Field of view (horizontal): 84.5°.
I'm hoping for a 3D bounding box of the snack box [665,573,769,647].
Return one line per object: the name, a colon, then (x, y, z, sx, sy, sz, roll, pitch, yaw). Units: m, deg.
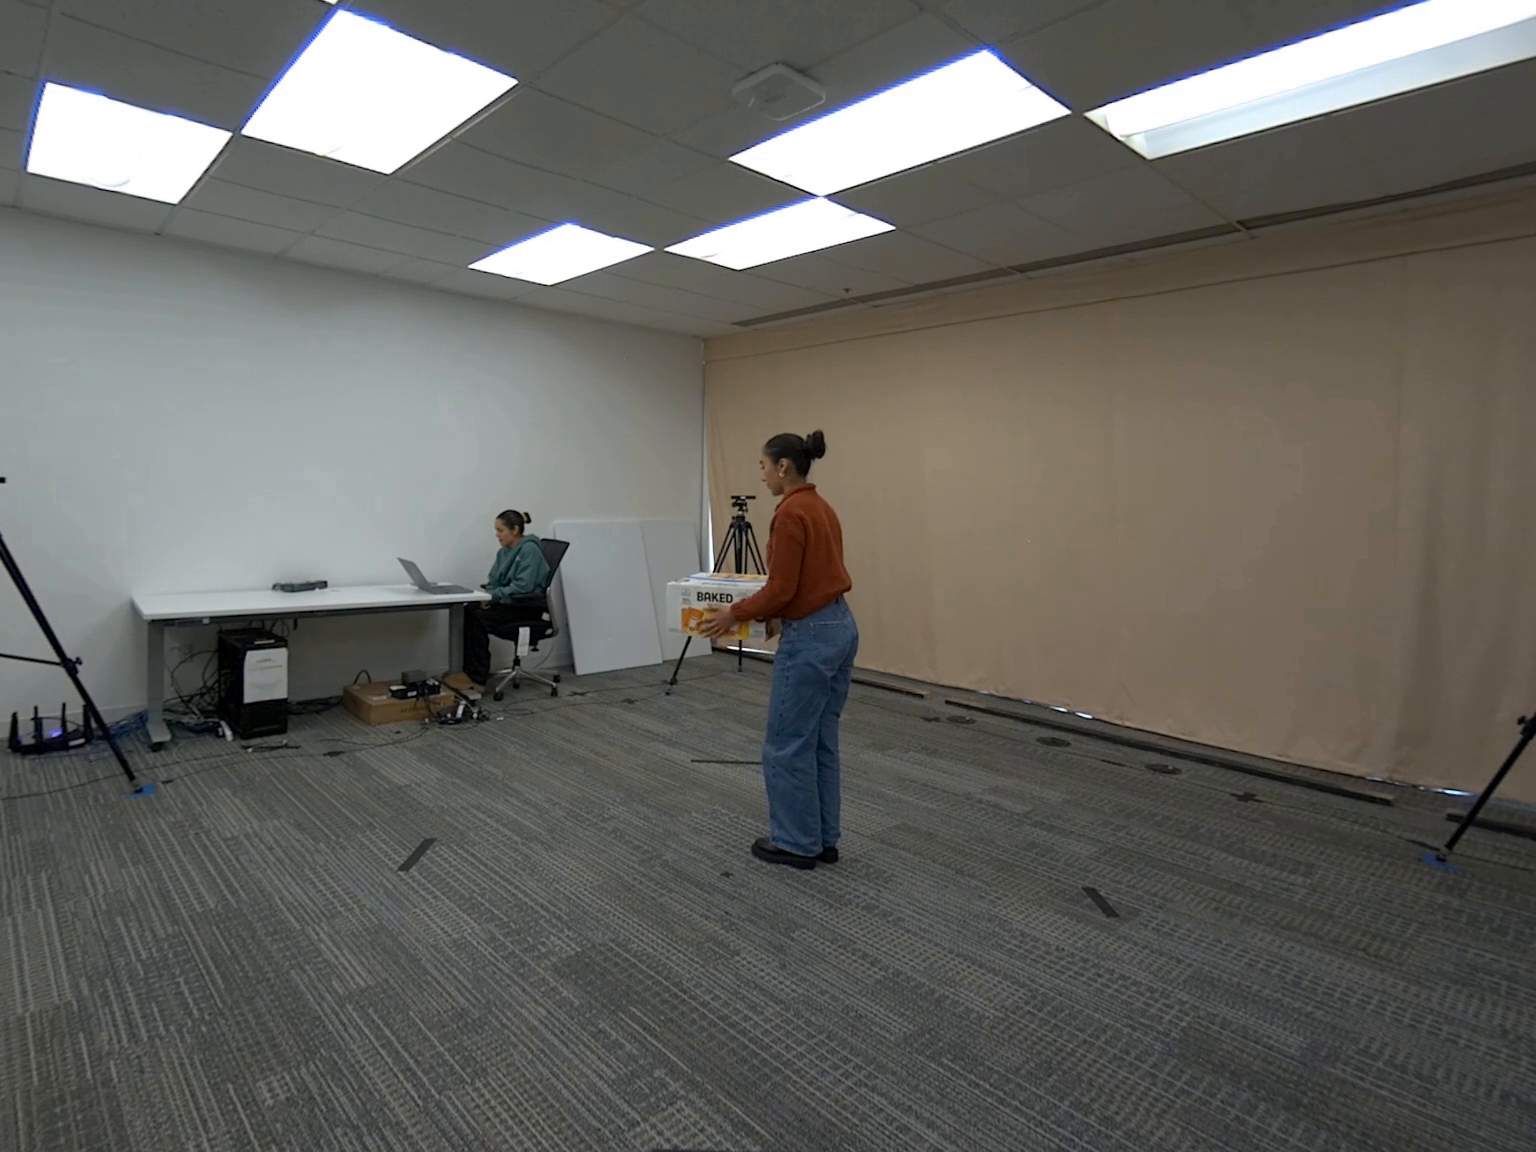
snack box: (-0.151, 0.117, 3.341, 0.412, 0.205, 0.336, 3, 7, 20)
